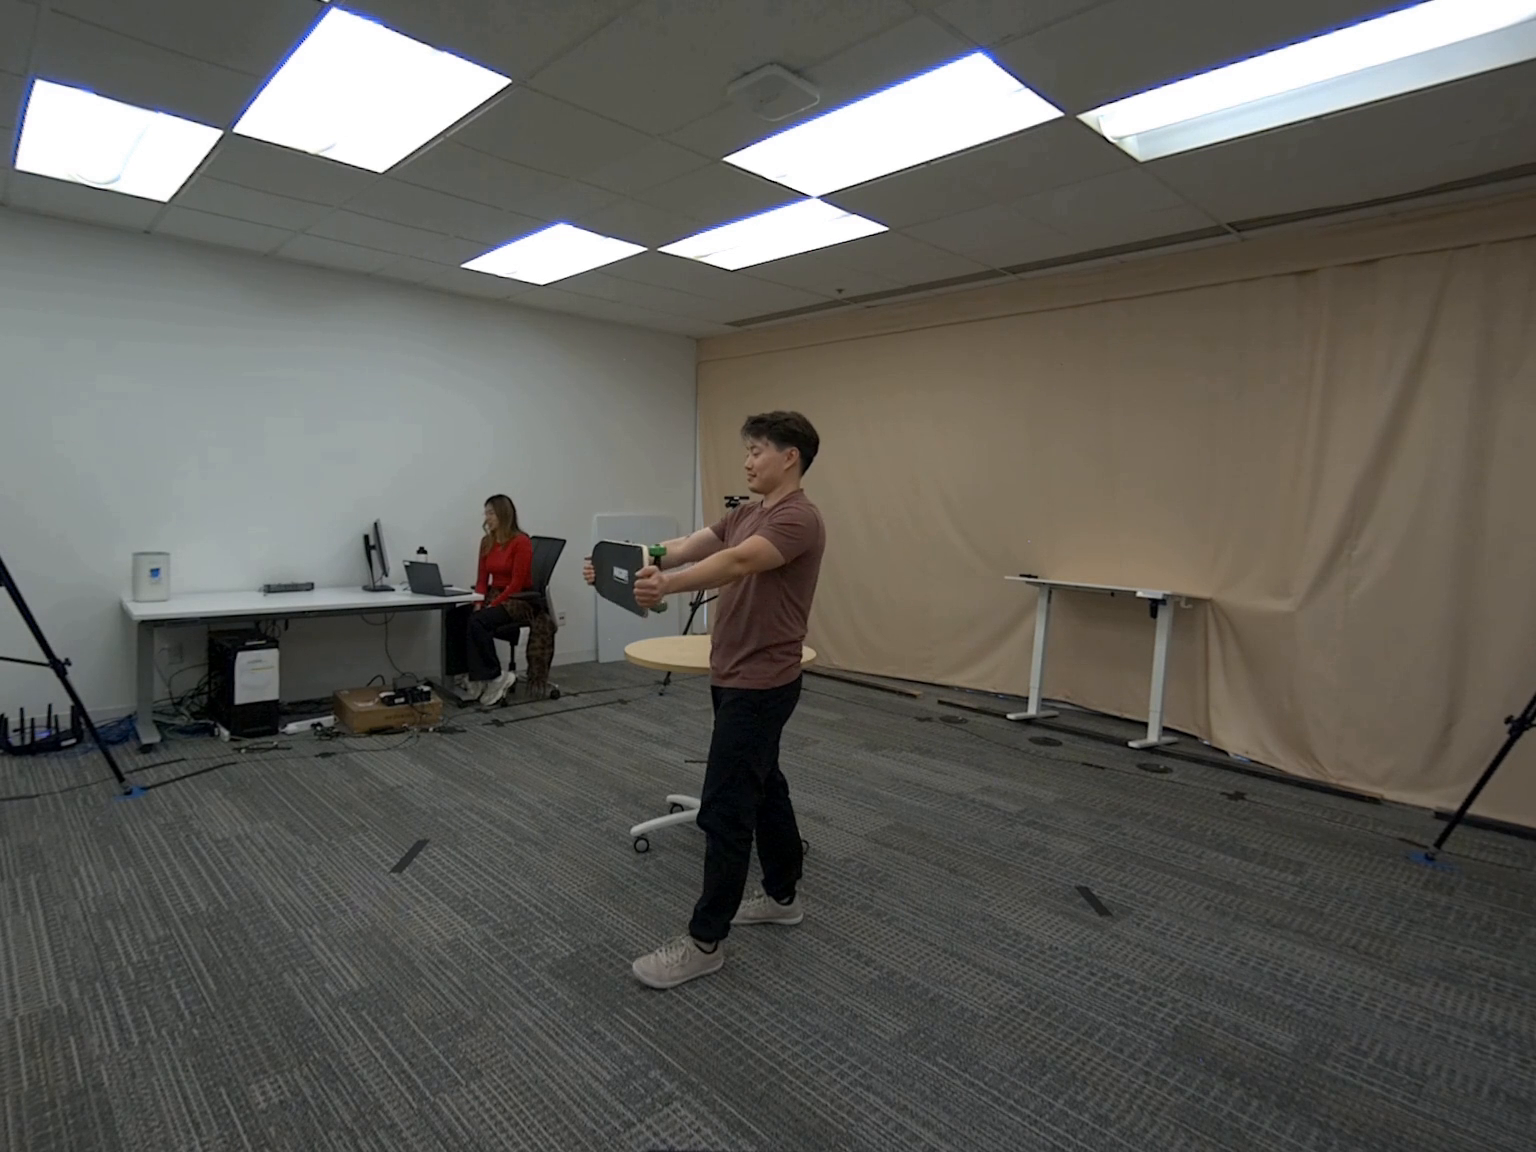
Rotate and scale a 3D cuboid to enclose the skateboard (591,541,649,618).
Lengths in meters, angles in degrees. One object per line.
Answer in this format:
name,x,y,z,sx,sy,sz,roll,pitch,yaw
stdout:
skateboard,-0.413,-0.006,2.520,0.108,0.193,0.800,3,3,-23
